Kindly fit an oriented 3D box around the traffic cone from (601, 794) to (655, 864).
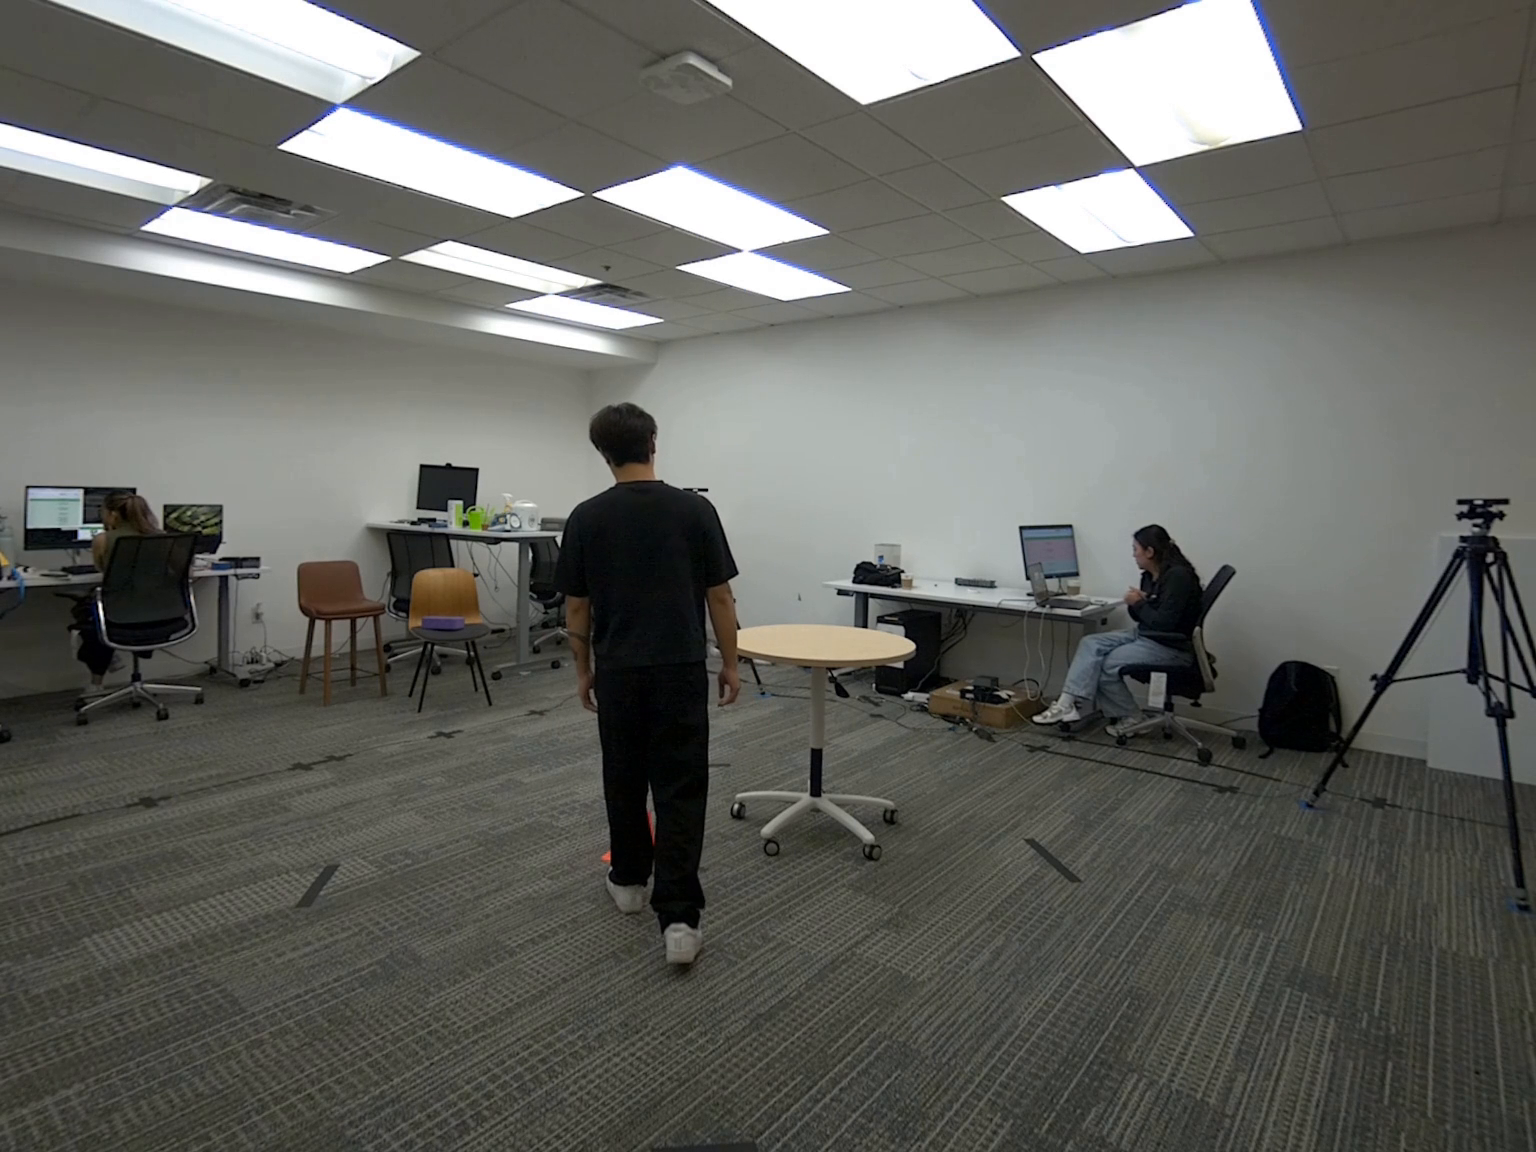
[{"bbox_3d":[-0.500,0.865,3.223,0.208,0.383,0.201,3,3,21],"label":"traffic cone"}]
